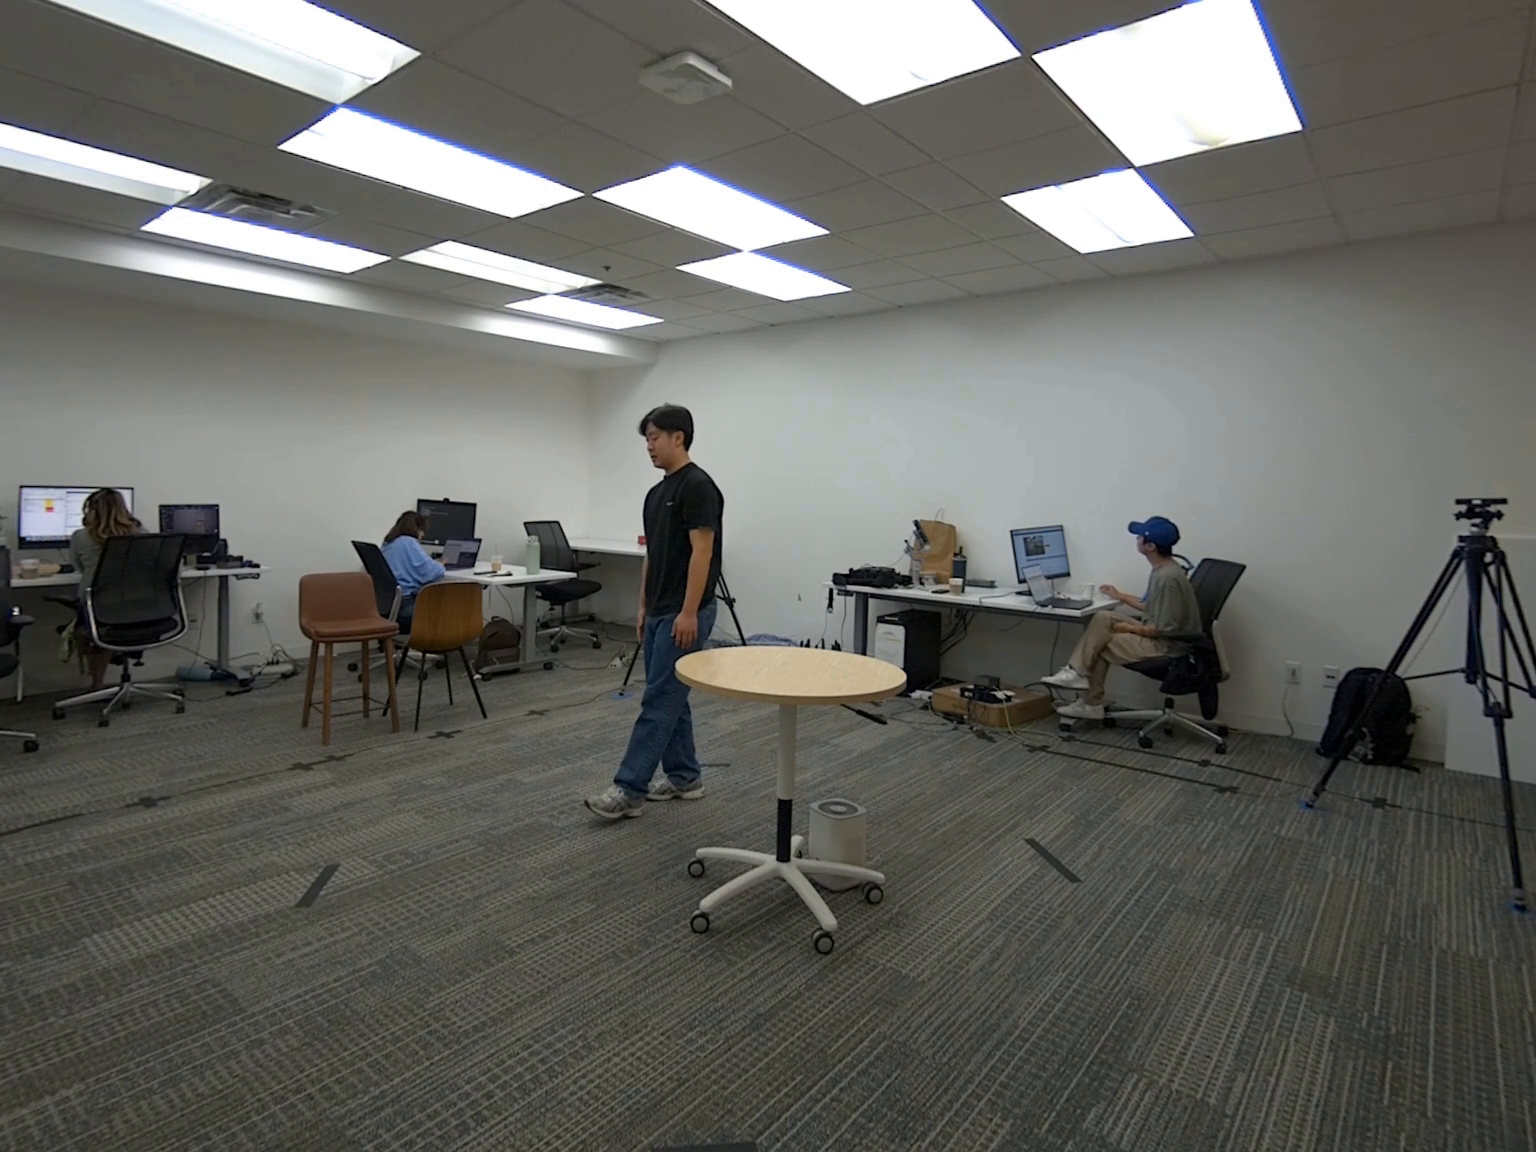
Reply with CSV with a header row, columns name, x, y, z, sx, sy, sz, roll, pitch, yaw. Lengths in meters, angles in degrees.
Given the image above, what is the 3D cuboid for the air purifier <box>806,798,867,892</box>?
name,x,y,z,sx,sy,sz,roll,pitch,yaw
air purifier,0.248,0.958,3.044,0.166,0.264,0.177,-4,5,-39
